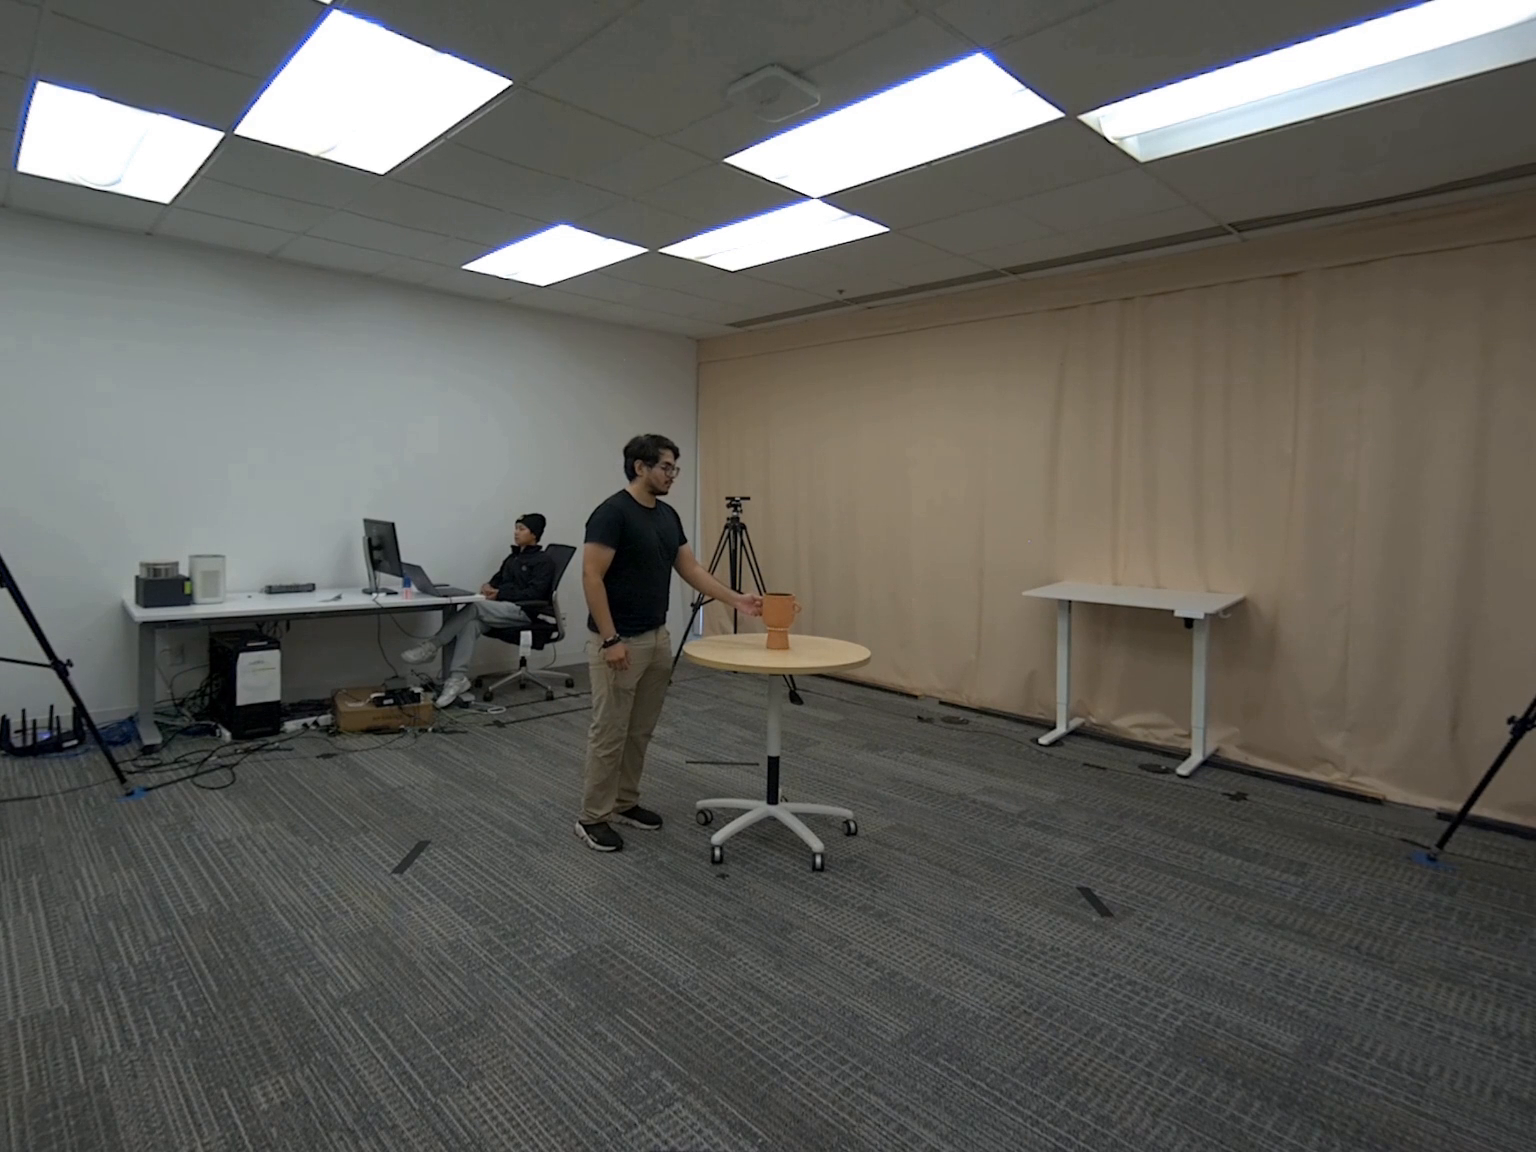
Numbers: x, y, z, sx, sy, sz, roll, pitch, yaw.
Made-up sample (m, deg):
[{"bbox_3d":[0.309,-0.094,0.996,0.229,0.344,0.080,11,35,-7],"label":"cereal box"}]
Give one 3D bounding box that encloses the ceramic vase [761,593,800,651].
[{"bbox_3d":[0.033,0.183,3.464,0.132,0.219,0.162,-1,4,-26],"label":"ceramic vase"}]
